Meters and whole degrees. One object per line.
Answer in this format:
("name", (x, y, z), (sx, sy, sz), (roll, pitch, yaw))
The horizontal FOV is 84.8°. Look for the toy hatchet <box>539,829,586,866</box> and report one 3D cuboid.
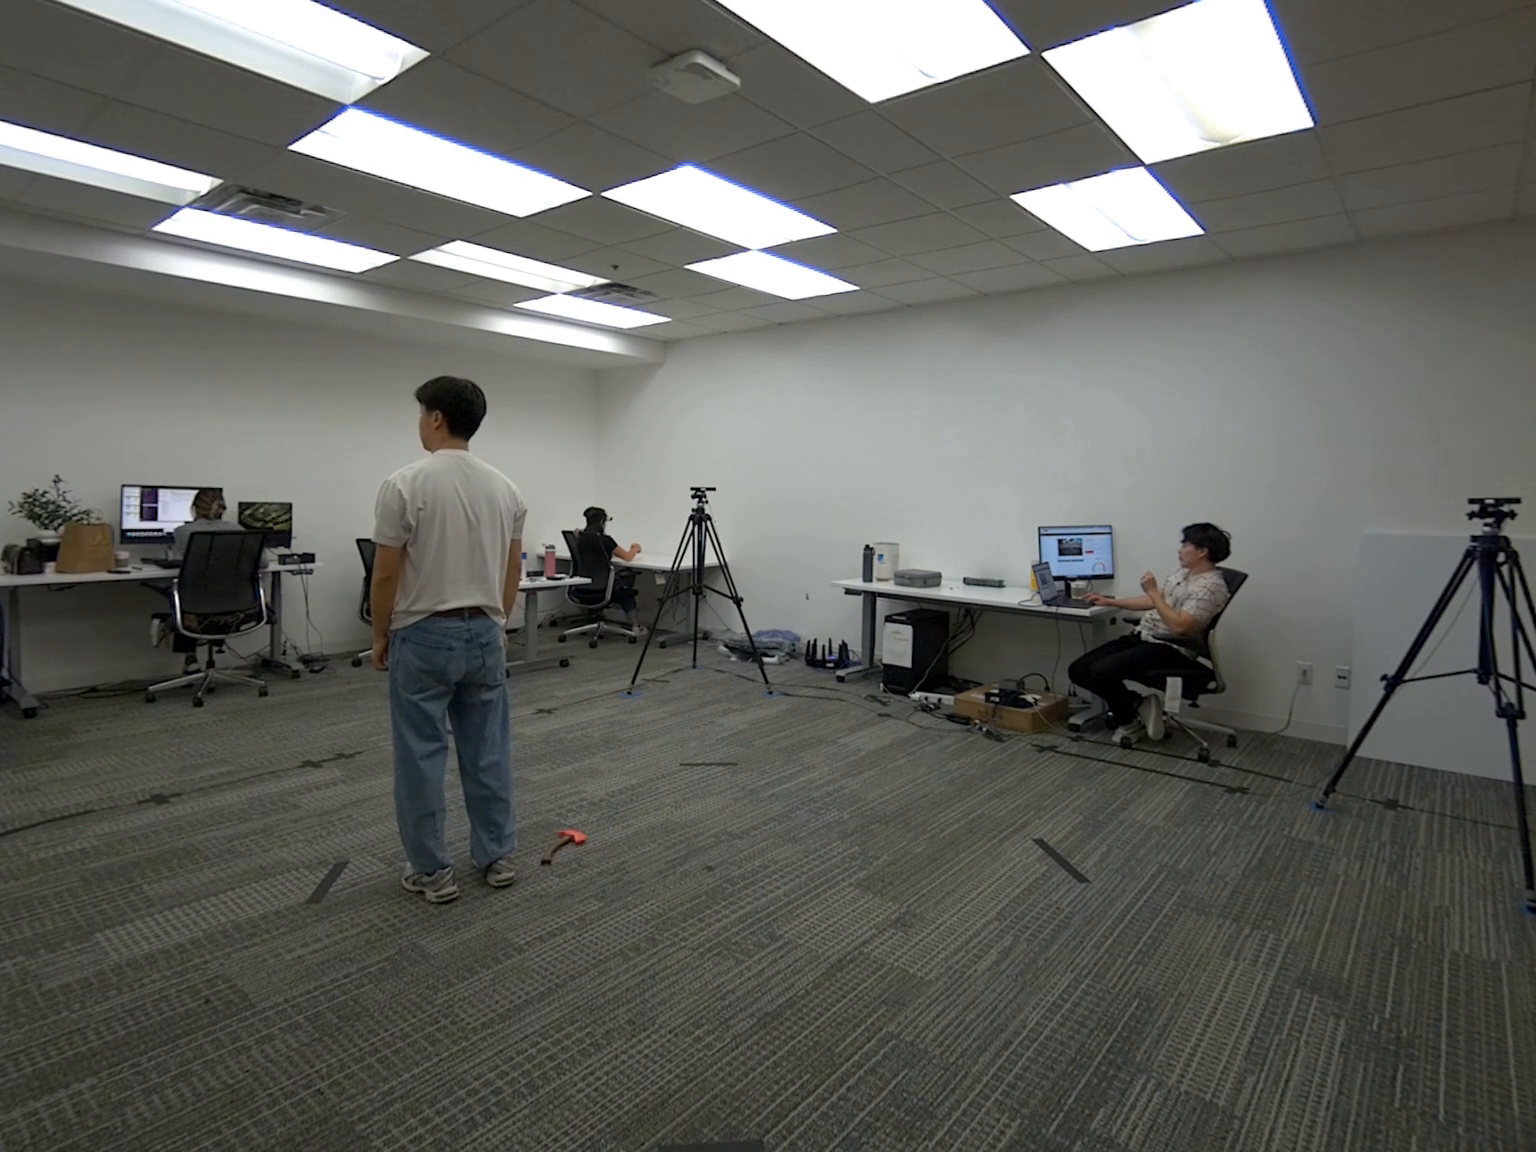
("toy hatchet", (-0.782, 1.033, 3.239), (0.131, 0.029, 0.271), (1, 8, 1))
